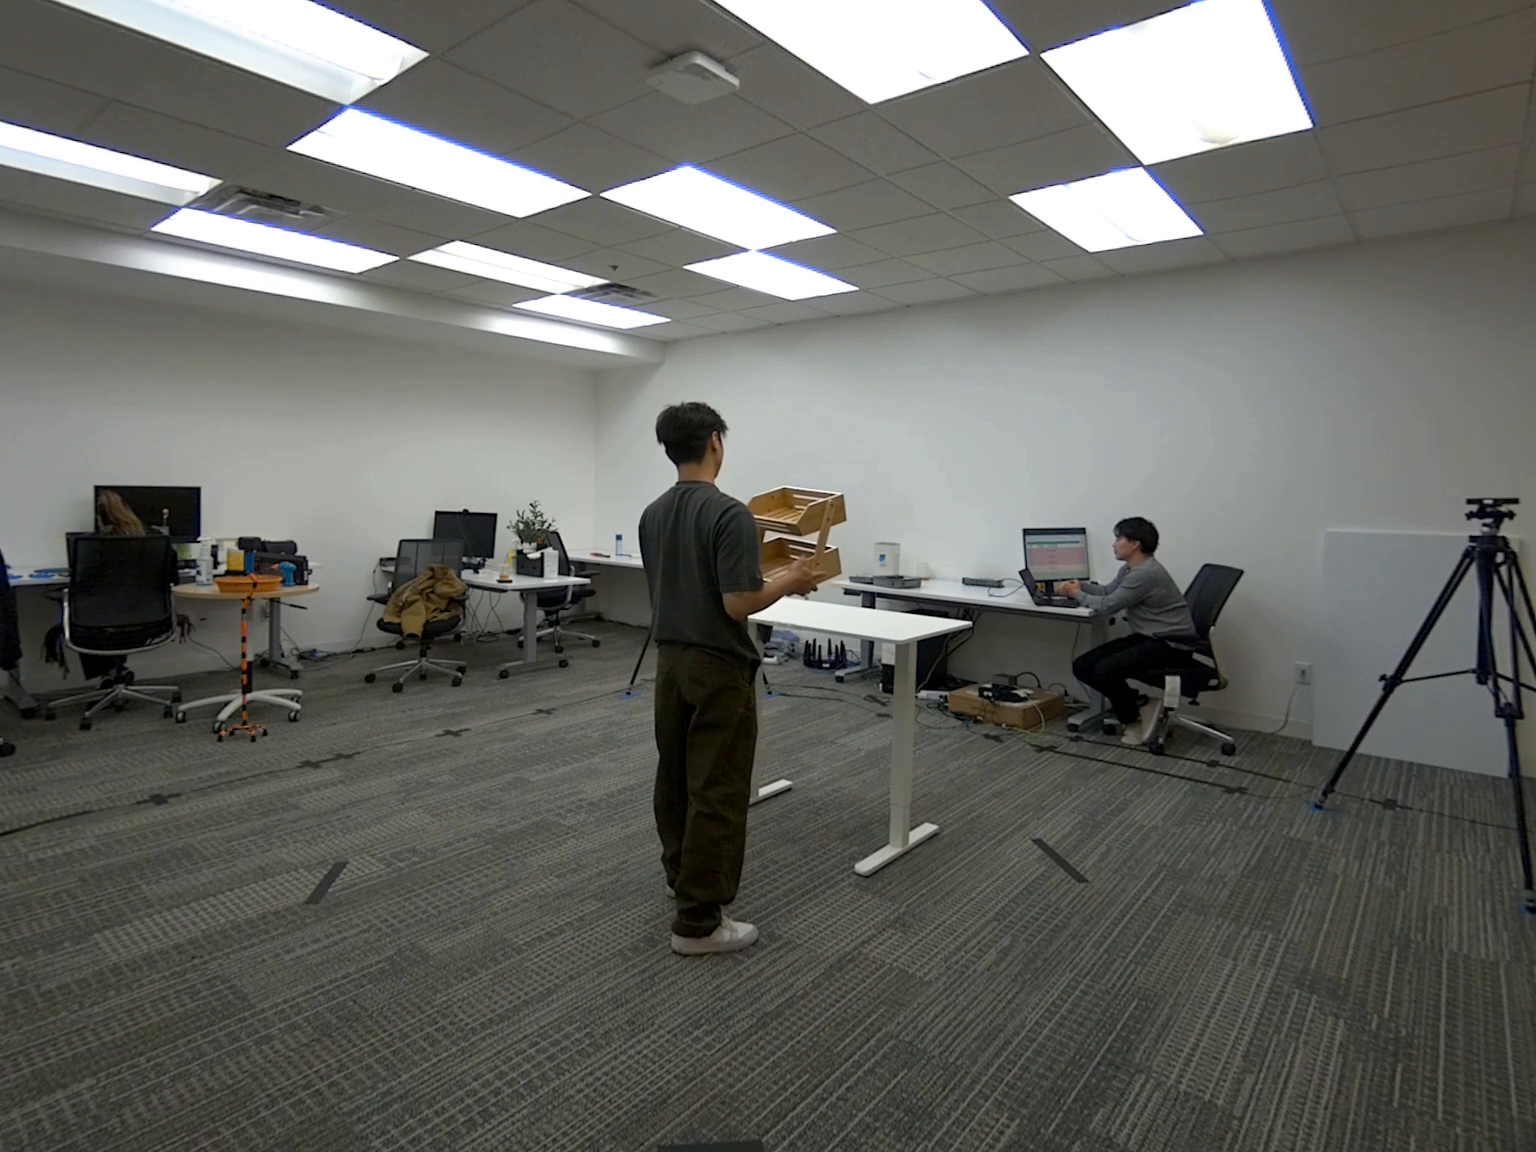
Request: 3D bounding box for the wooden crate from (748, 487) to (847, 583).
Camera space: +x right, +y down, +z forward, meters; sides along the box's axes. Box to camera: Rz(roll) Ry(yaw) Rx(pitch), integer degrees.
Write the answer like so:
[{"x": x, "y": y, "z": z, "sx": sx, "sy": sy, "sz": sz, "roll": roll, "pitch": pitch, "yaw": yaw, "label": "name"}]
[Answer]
[{"x": 0.040, "y": -0.129, "z": 2.812, "sx": 0.296, "sy": 0.268, "sz": 0.336, "roll": -21, "pitch": 21, "yaw": -33, "label": "wooden crate"}]
